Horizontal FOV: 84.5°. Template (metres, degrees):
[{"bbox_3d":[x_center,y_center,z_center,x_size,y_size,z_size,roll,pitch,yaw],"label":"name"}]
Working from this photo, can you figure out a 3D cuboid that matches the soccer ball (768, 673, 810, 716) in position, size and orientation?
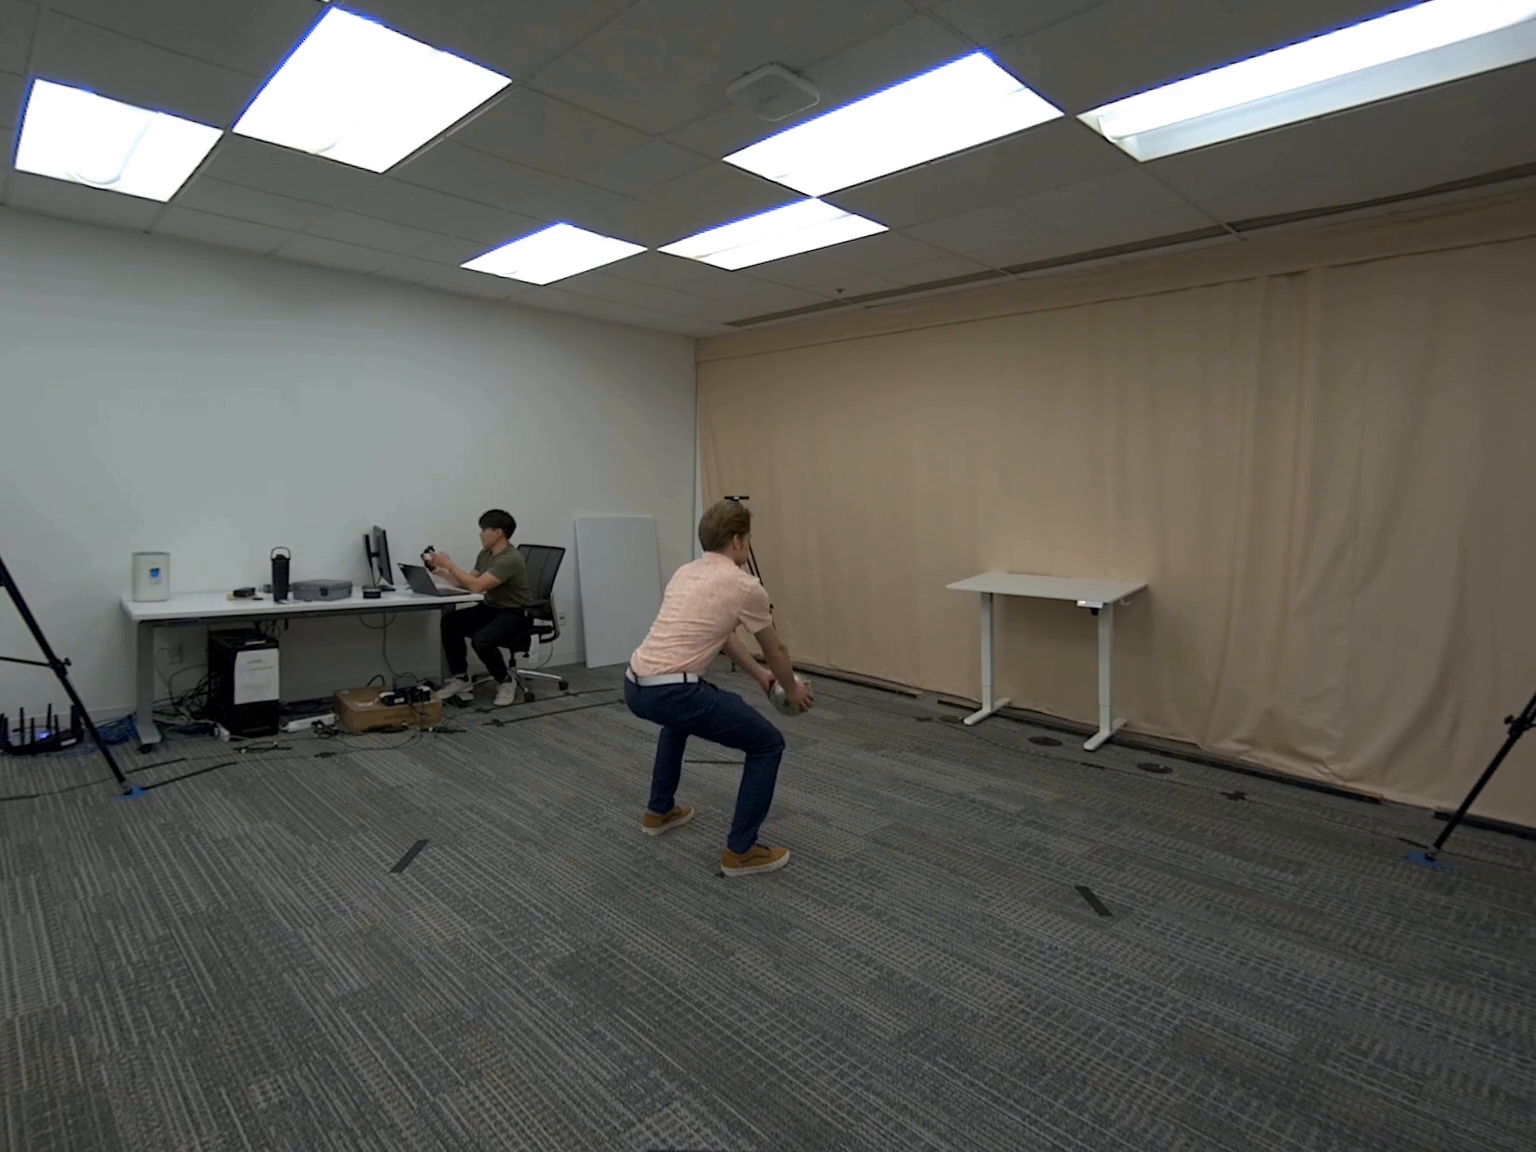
[{"bbox_3d":[0.097,0.521,3.655,0.187,0.187,0.188,1,4,-1],"label":"soccer ball"}]
